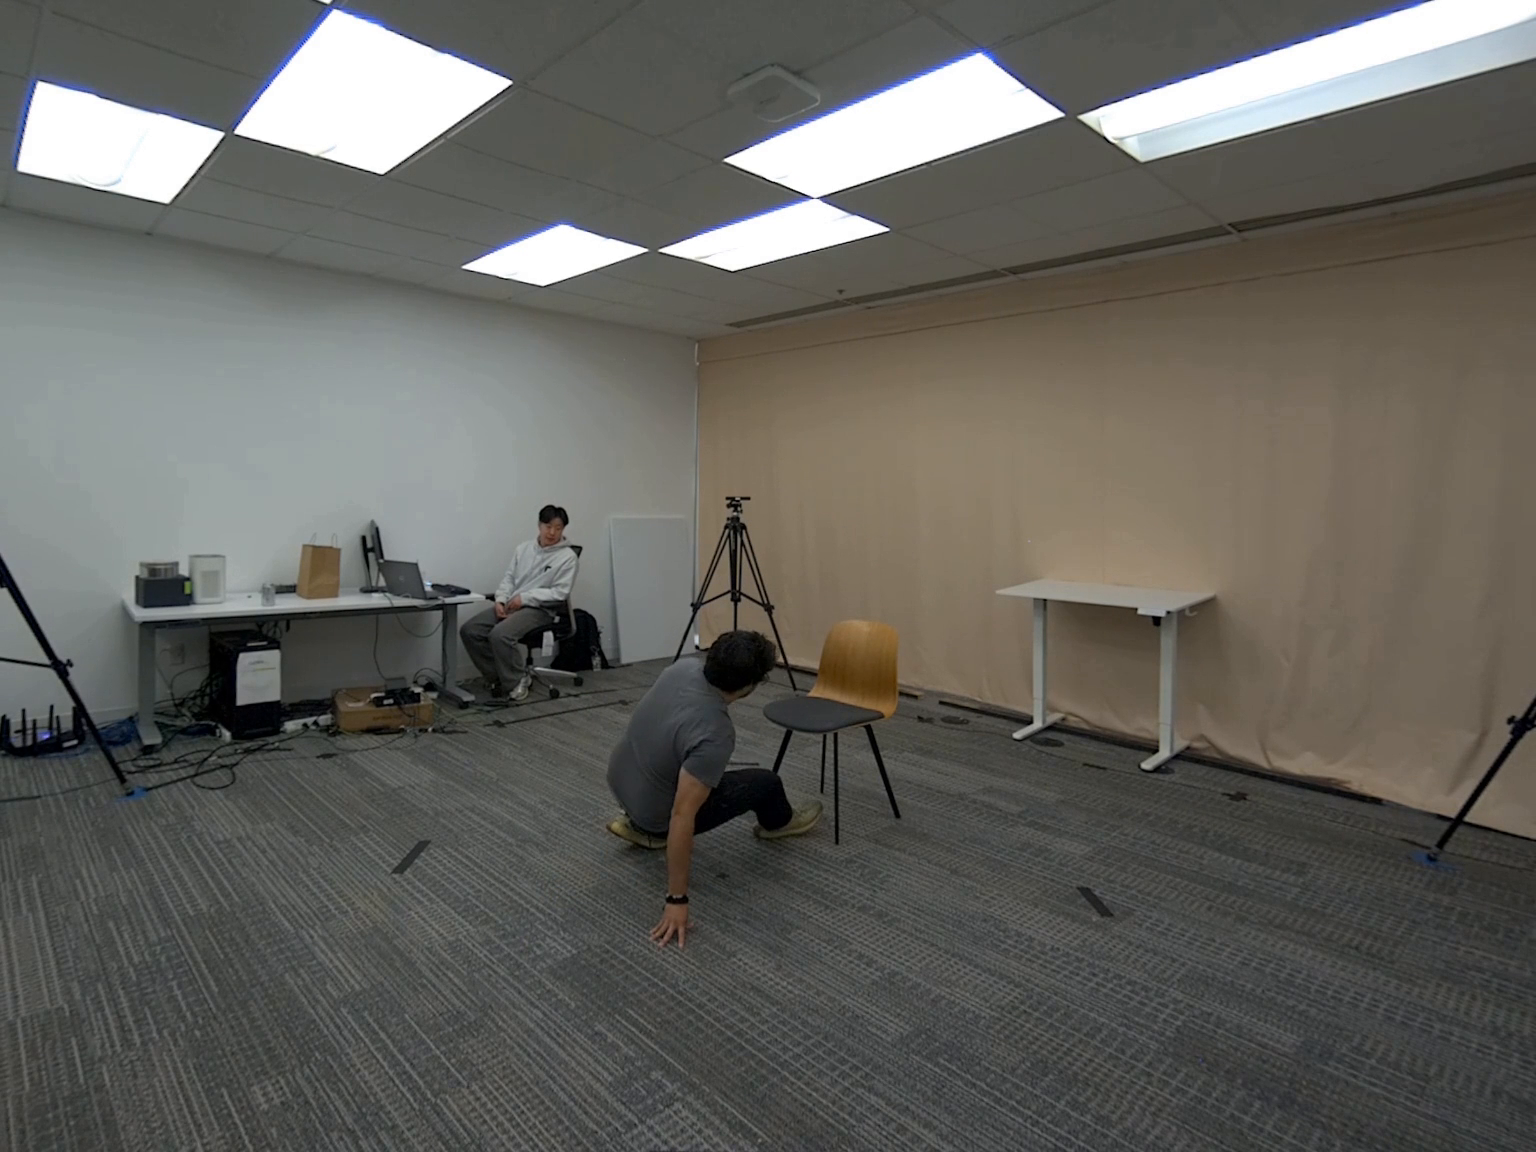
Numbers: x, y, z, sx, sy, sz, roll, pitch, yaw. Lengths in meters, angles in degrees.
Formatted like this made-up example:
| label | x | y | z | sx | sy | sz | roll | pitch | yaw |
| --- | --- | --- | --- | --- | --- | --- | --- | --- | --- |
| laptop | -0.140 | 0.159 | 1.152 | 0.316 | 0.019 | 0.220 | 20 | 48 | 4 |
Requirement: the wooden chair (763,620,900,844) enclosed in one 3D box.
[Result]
| label | x | y | z | sx | sy | sz | roll | pitch | yaw |
| --- | --- | --- | --- | --- | --- | --- | --- | --- | --- |
| wooden chair | 0.267 | 0.636 | 3.693 | 0.490 | 0.877 | 0.510 | 4 | 0 | 44 |
